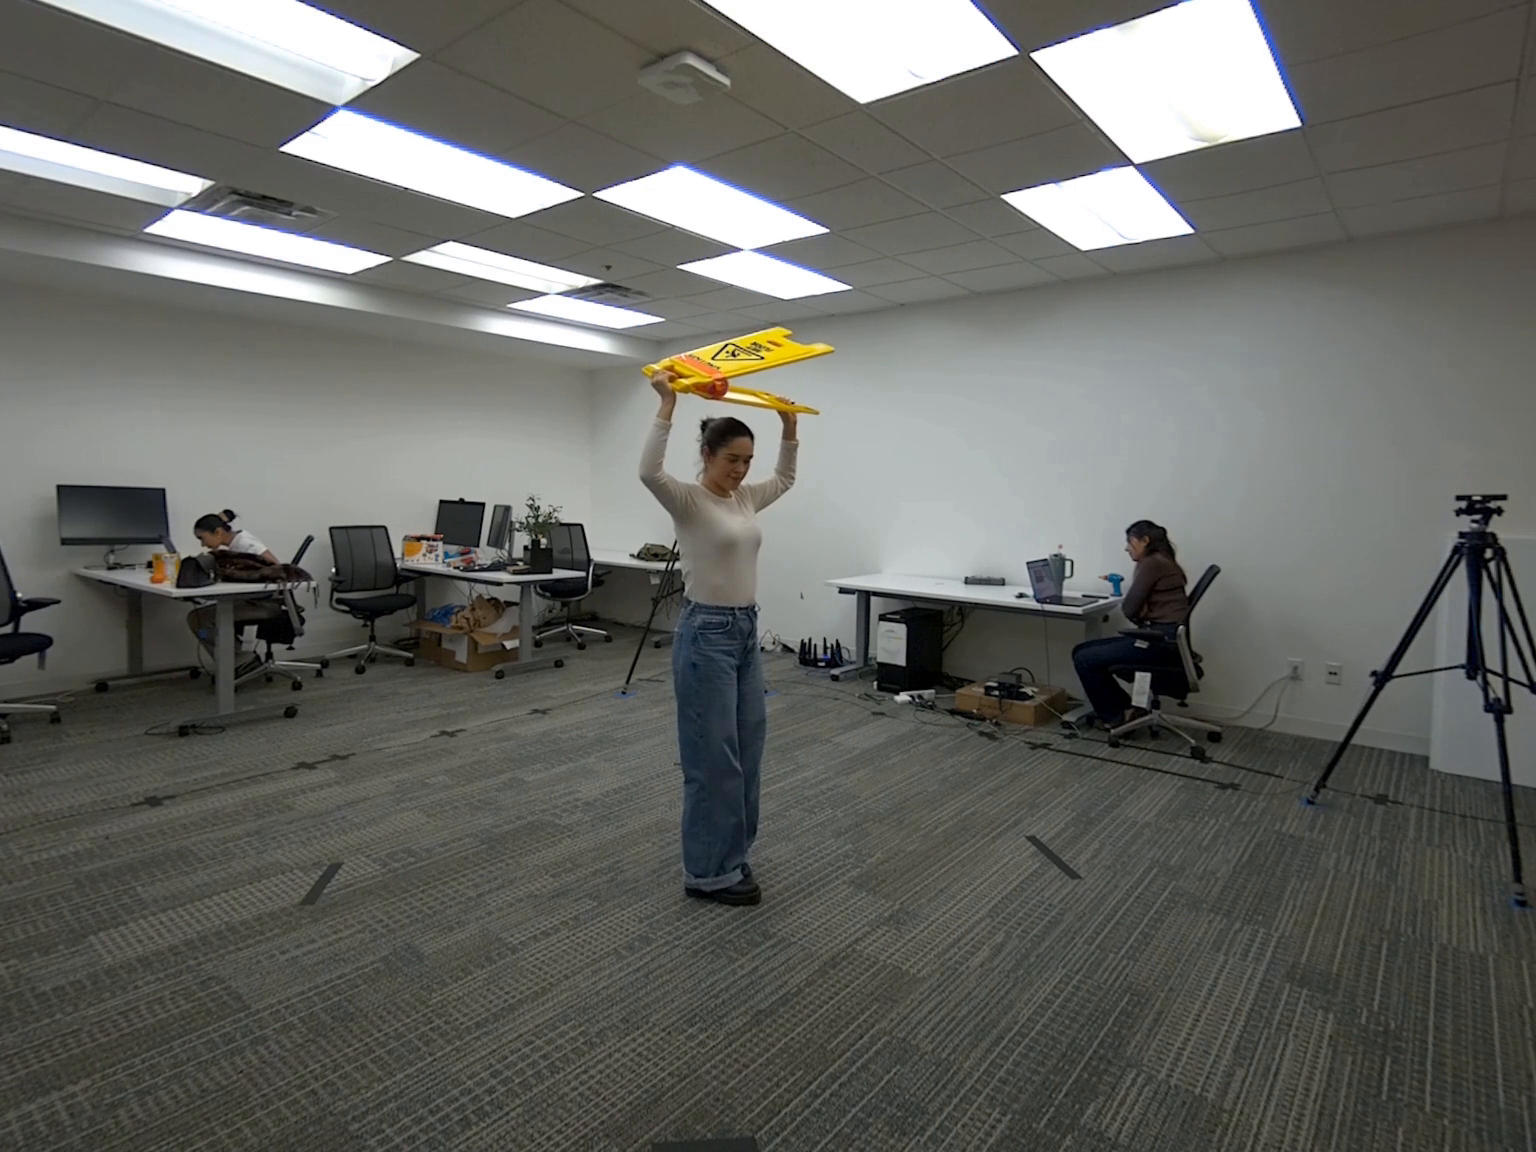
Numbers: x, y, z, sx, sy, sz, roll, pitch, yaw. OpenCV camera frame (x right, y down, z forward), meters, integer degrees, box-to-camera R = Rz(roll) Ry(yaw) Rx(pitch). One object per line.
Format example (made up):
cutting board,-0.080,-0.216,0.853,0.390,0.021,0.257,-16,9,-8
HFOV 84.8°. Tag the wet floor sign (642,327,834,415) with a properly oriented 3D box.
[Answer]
wet floor sign,-0.122,-0.674,2.843,0.630,0.285,0.294,-15,35,-43
